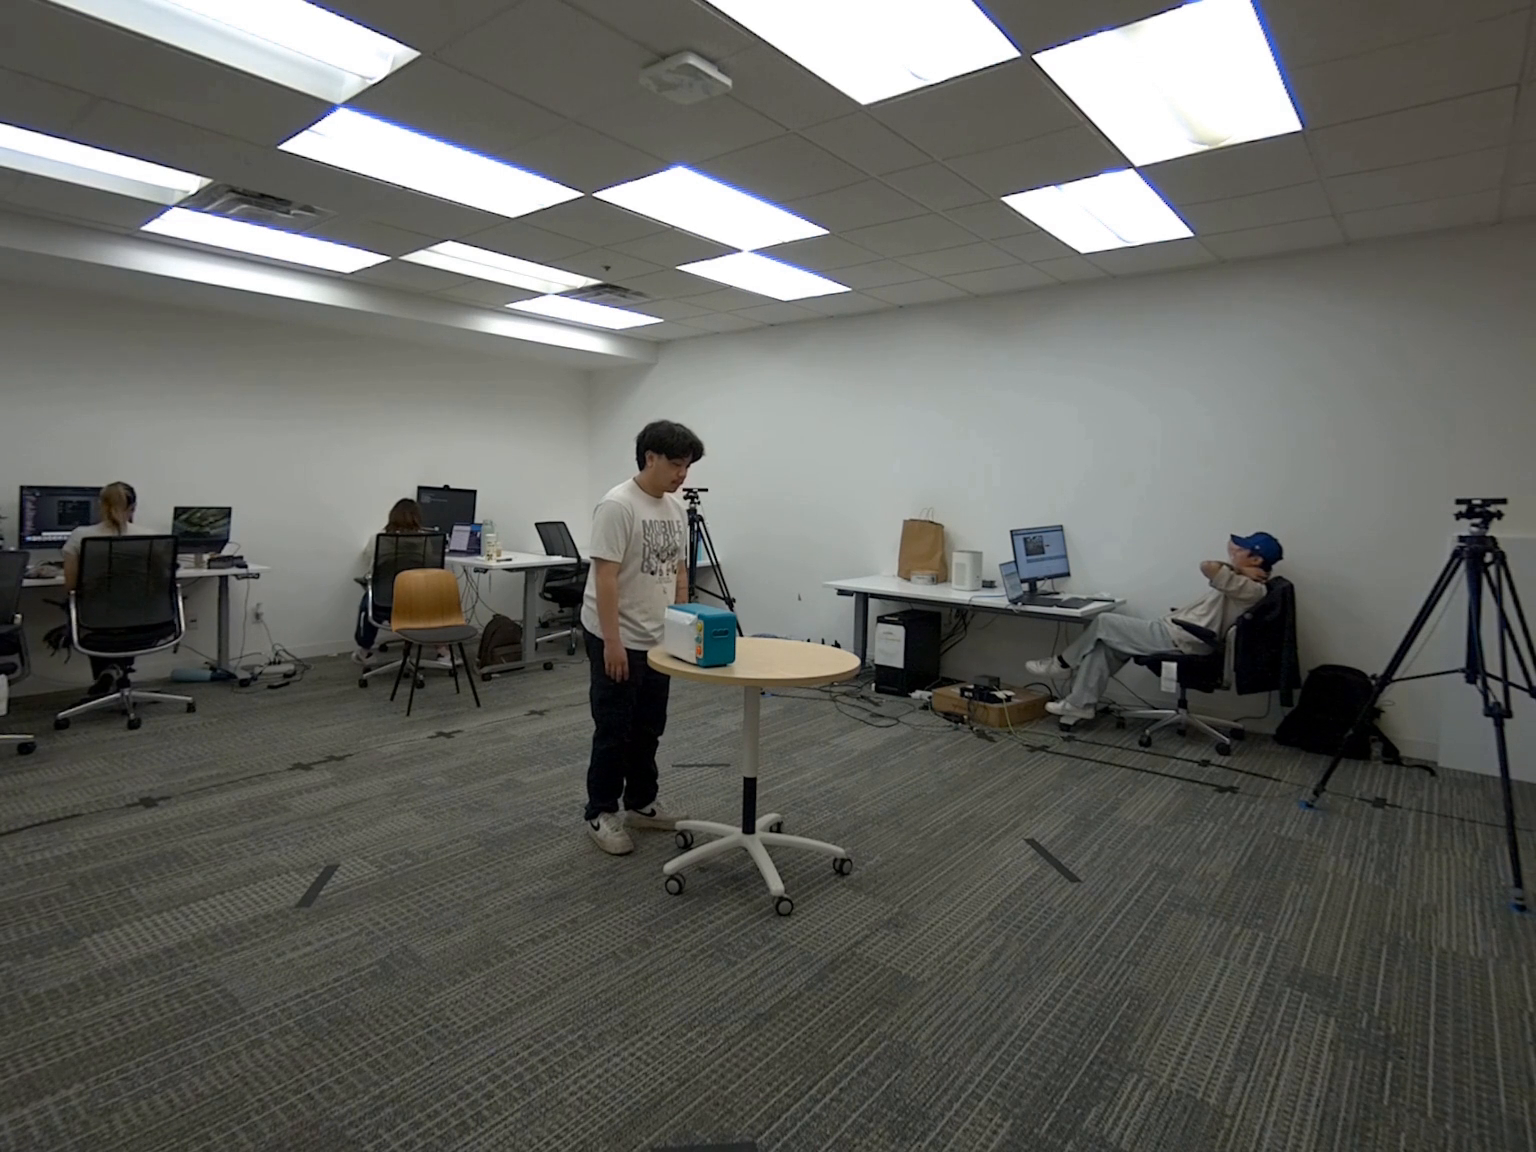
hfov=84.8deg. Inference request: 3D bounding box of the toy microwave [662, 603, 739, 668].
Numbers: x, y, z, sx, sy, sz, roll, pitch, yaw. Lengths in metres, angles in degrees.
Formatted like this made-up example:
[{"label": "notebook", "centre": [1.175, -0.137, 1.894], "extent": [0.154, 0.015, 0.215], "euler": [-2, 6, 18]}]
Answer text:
[{"label": "toy microwave", "centre": [-0.256, 0.200, 2.941], "extent": [0.148, 0.183, 0.295], "euler": [-1, 5, -35]}]
